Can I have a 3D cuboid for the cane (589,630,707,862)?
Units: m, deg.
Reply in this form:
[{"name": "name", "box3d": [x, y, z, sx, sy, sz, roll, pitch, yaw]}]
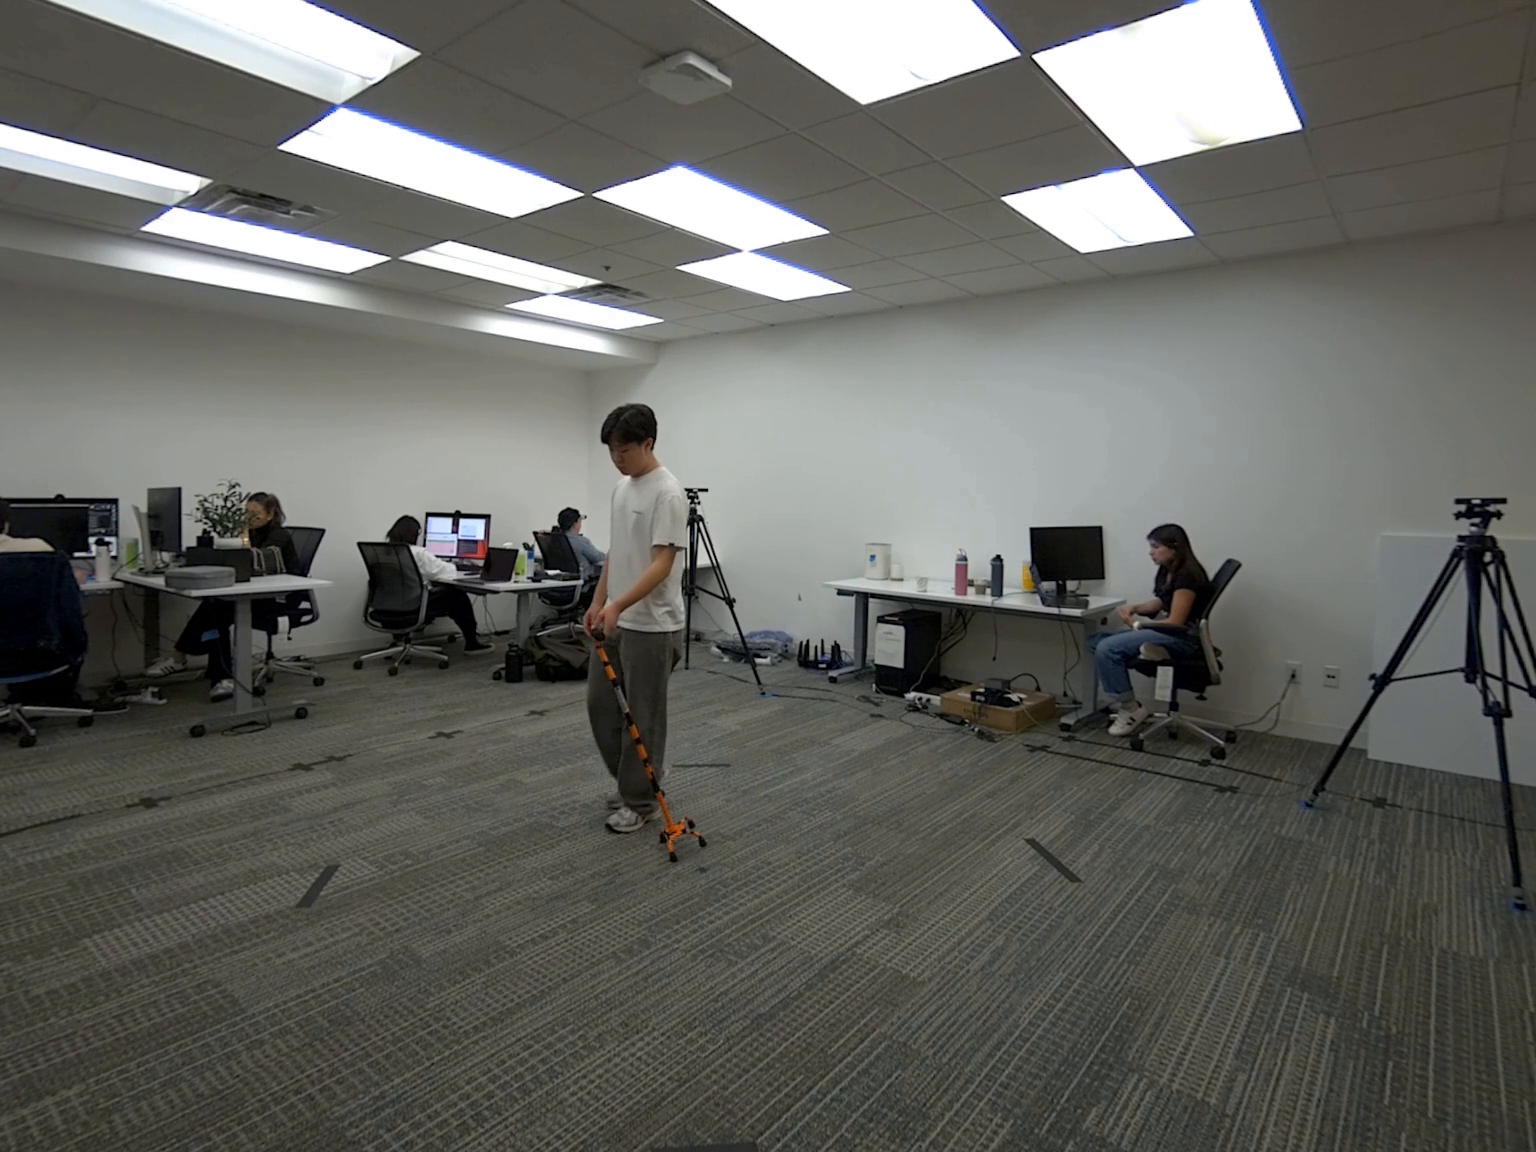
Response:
[{"name": "cane", "box3d": [-0.470, 0.611, 3.204, 0.150, 0.898, 0.210, -21, 9, -13]}]
